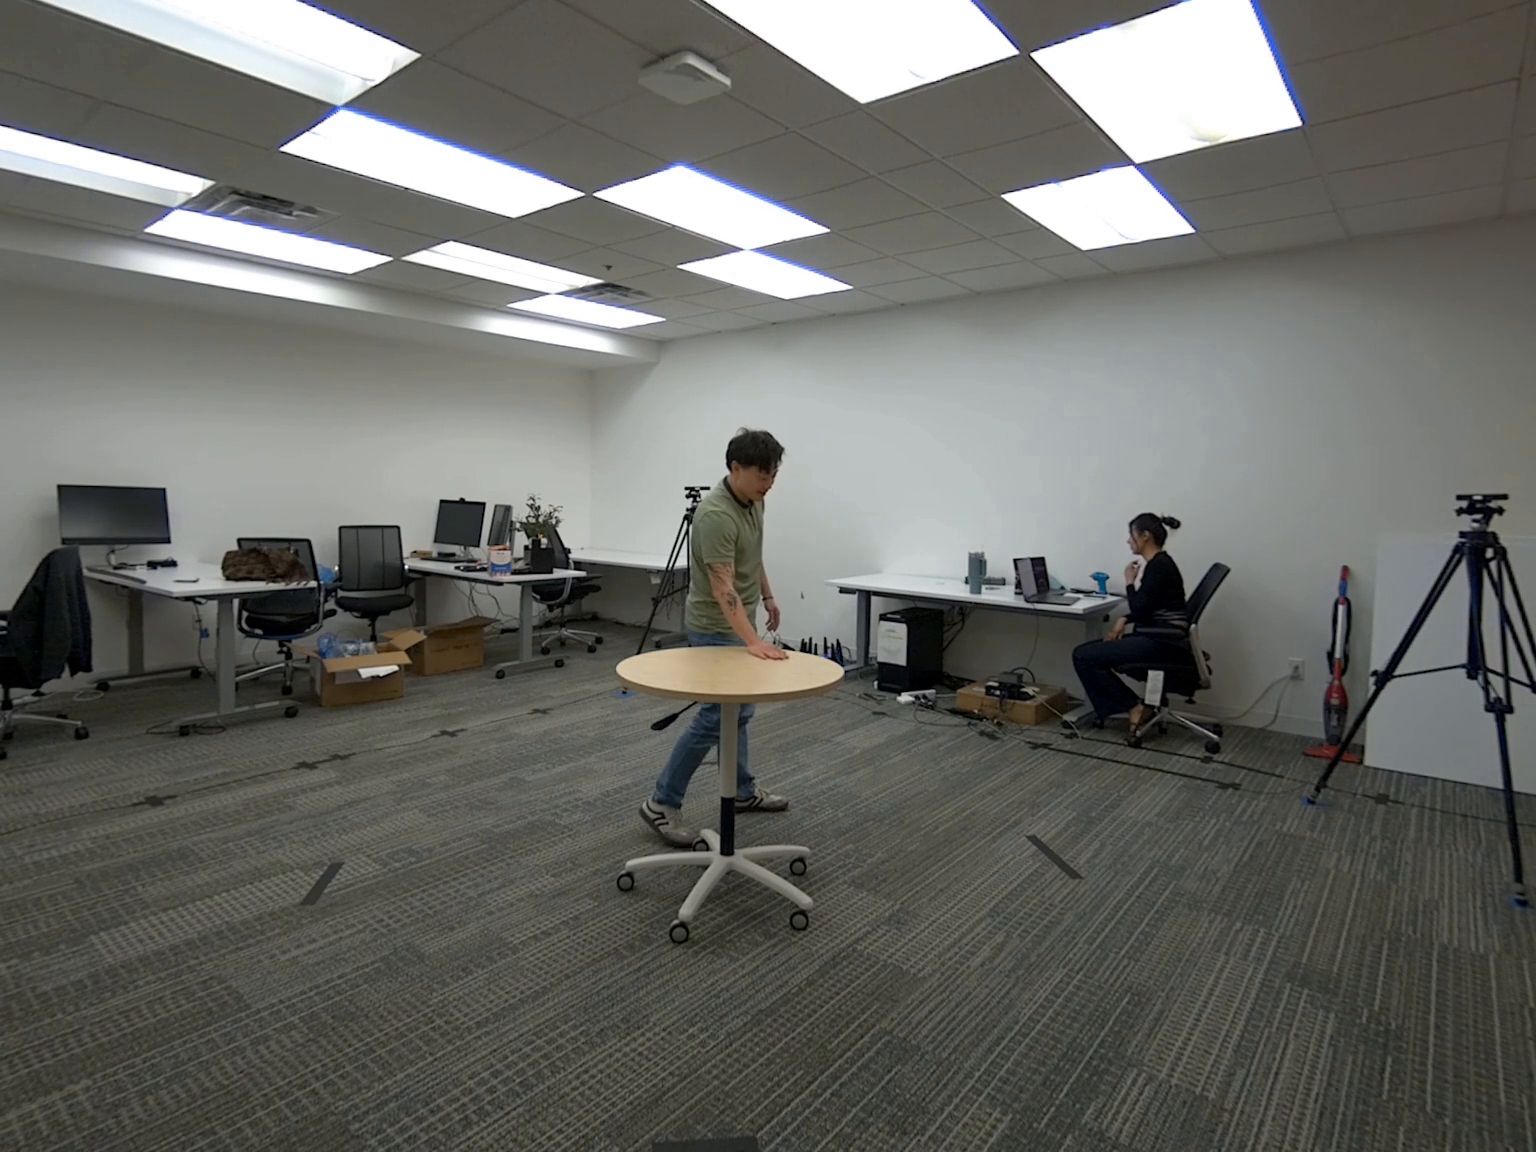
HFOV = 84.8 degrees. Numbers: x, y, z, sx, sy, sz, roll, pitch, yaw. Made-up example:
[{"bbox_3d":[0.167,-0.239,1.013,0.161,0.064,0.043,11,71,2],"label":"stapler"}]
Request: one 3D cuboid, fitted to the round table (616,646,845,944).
[{"bbox_3d":[-0.145,0.698,2.893,0.763,0.791,0.768,1,4,-2],"label":"round table"}]
